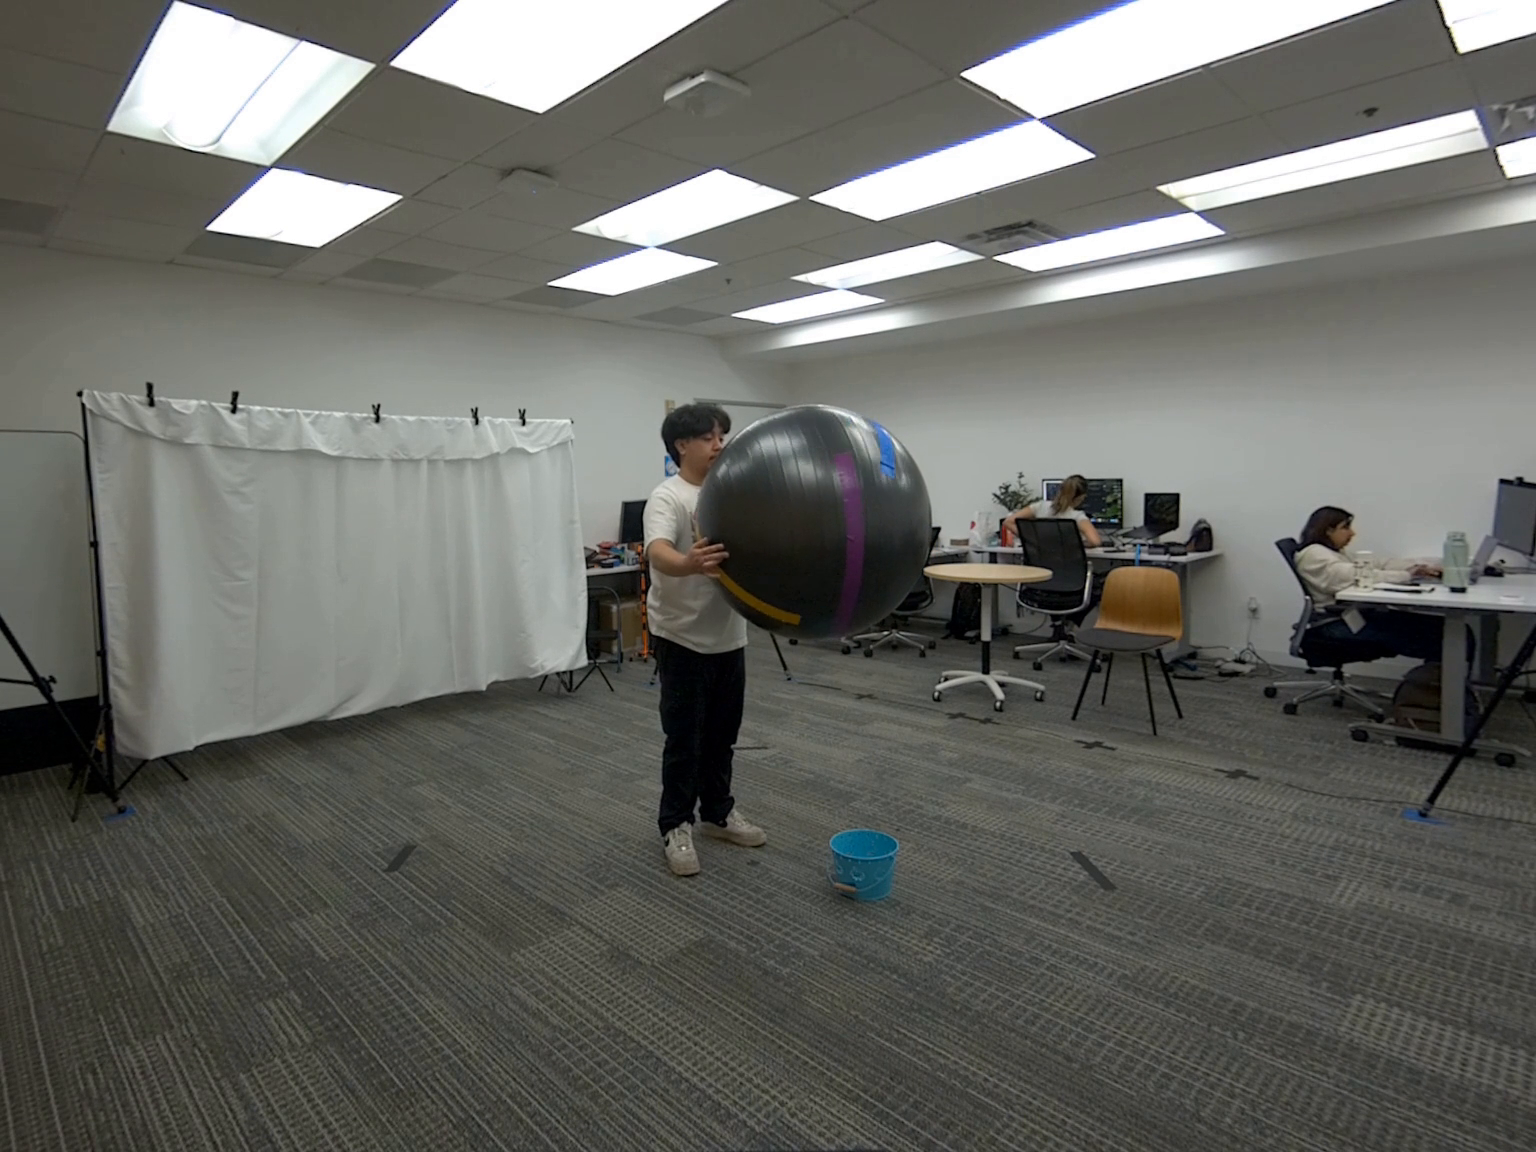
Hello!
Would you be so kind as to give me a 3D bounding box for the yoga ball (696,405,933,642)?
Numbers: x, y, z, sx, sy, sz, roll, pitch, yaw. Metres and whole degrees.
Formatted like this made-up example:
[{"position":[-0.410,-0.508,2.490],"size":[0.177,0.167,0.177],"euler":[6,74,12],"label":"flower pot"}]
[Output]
[{"position":[0.155,-0.165,2.767],"size":[0.757,0.755,0.762],"euler":[-1,5,-2],"label":"yoga ball"}]
